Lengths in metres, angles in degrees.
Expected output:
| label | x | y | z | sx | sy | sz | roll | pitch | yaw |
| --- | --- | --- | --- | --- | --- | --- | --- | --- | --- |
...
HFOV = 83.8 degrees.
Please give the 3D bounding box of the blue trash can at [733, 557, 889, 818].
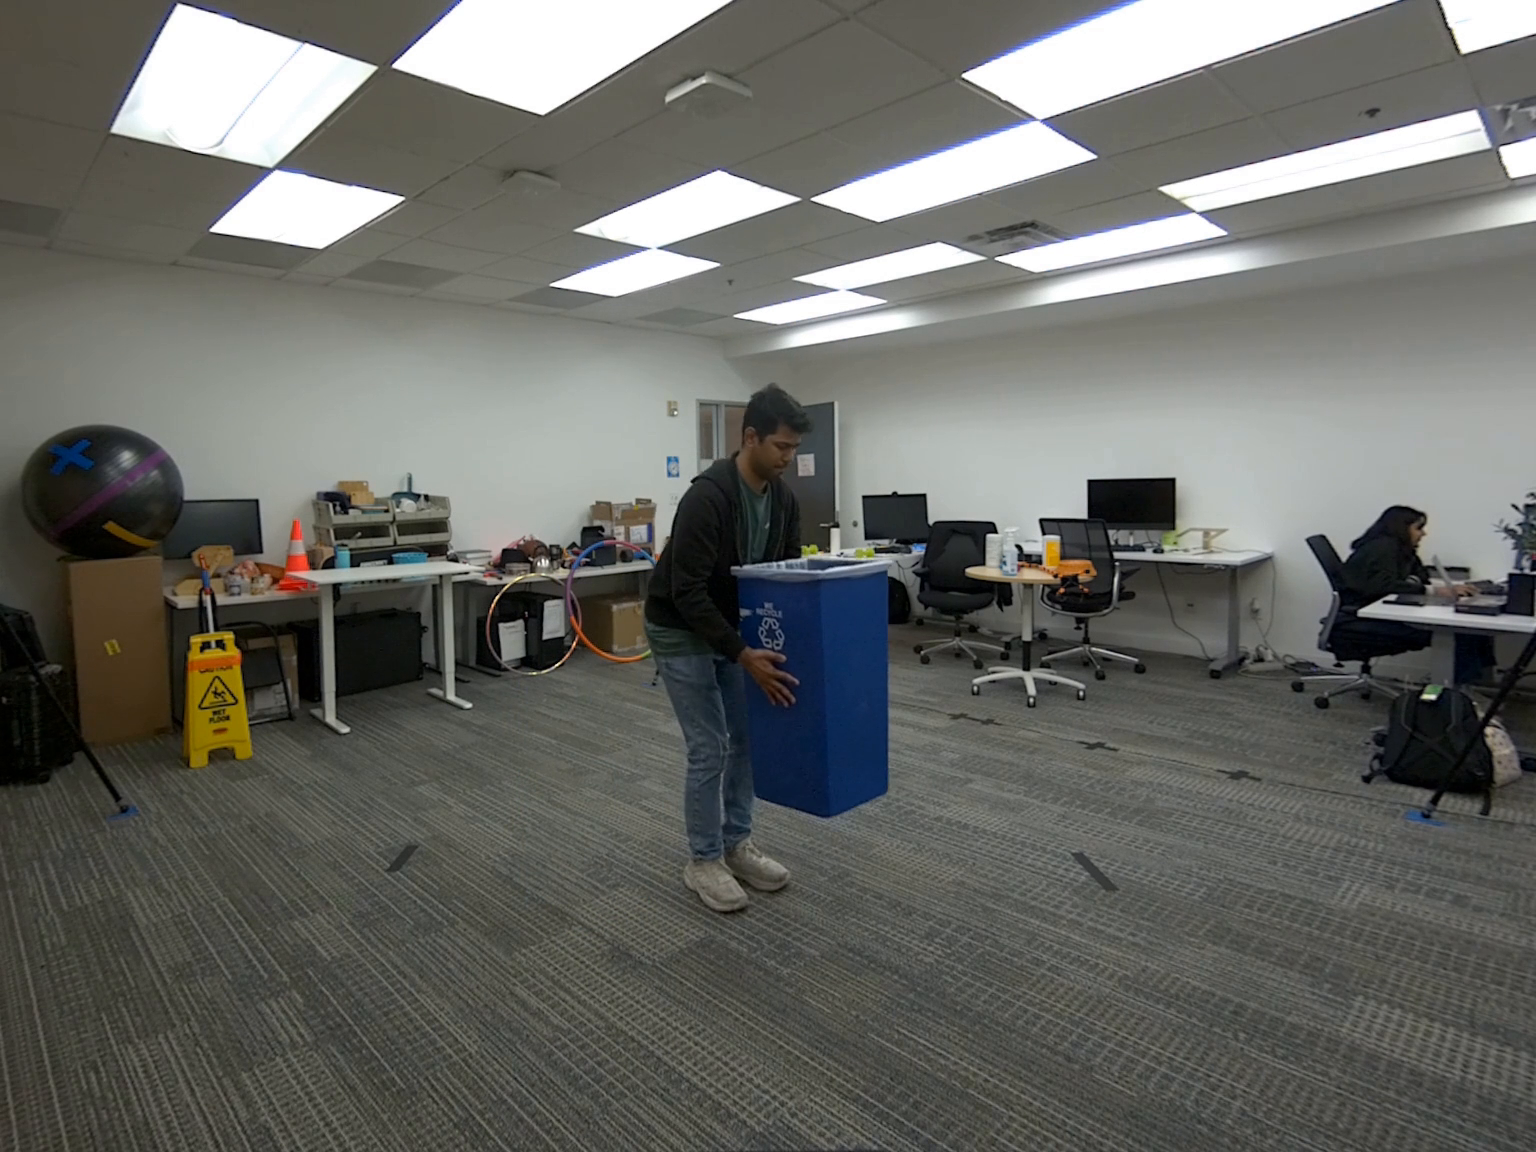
| label | x | y | z | sx | sy | sz | roll | pitch | yaw |
| --- | --- | --- | --- | --- | --- | --- | --- | --- | --- |
| blue trash can | 0.162 | 0.330 | 2.611 | 0.385 | 0.711 | 0.368 | 0 | 5 | 44 |
